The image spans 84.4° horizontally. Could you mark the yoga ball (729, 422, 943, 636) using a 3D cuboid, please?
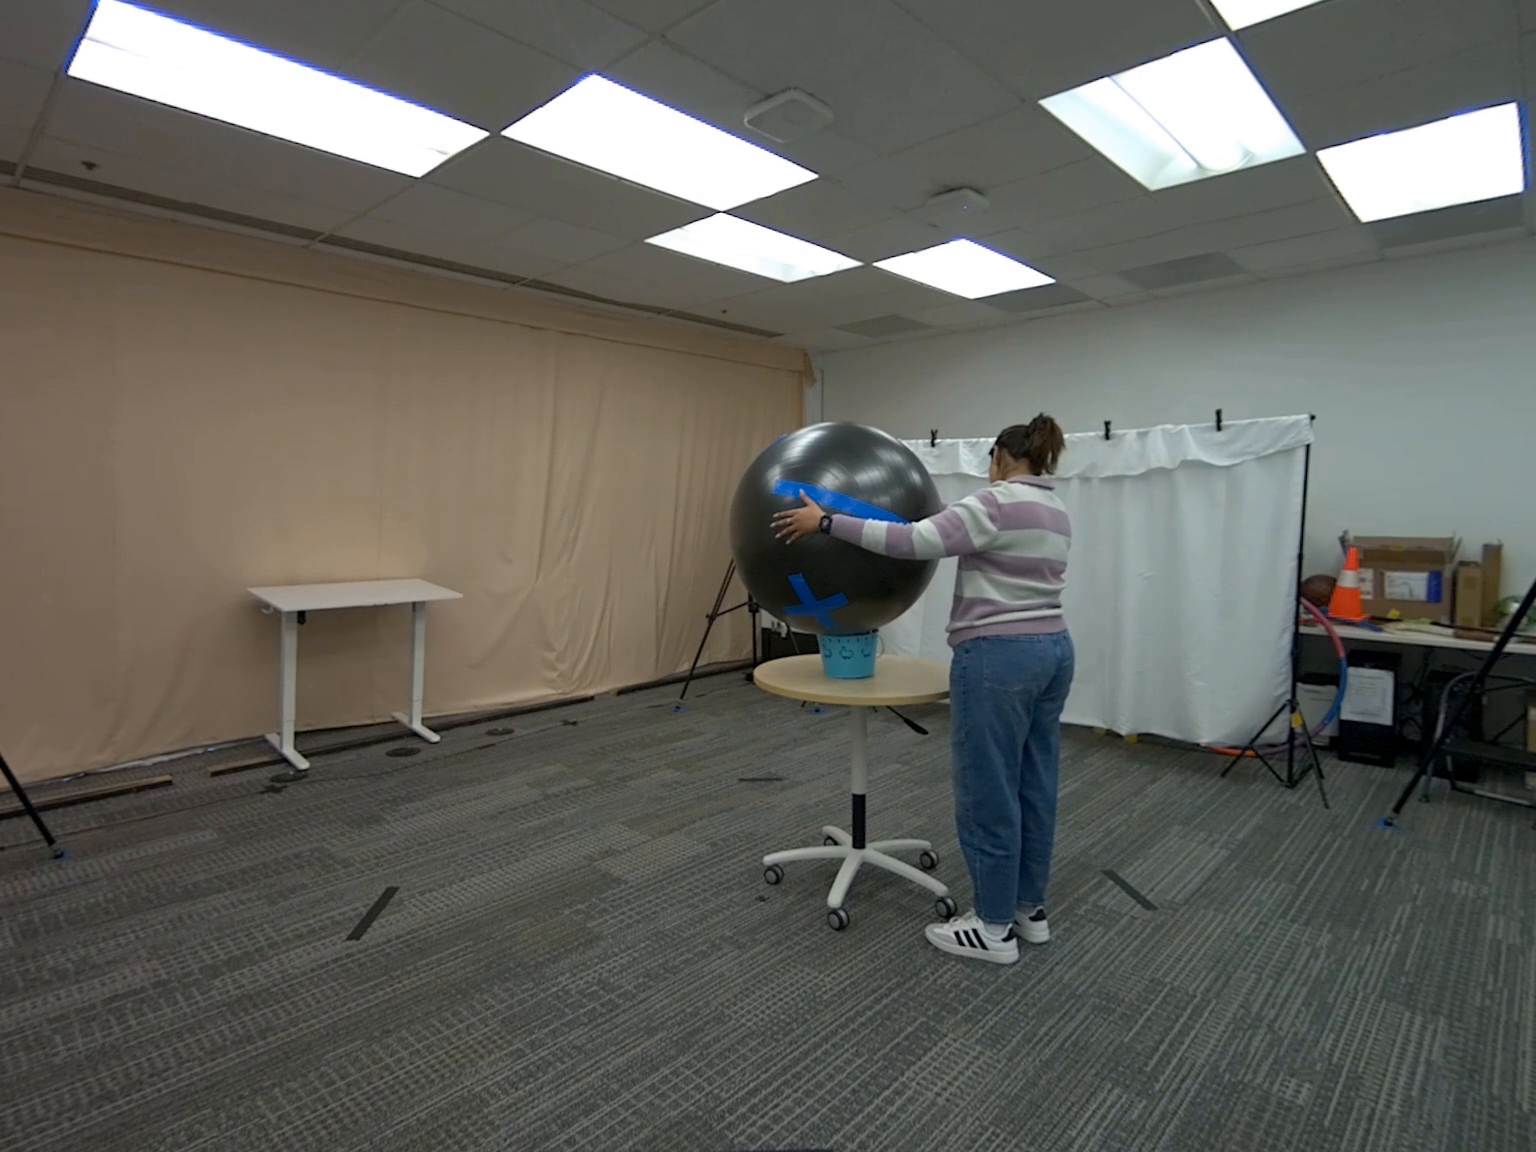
[{"bbox_3d":[0.240,-0.165,3.007,0.757,0.756,0.760,0,4,-2],"label":"yoga ball"}]
